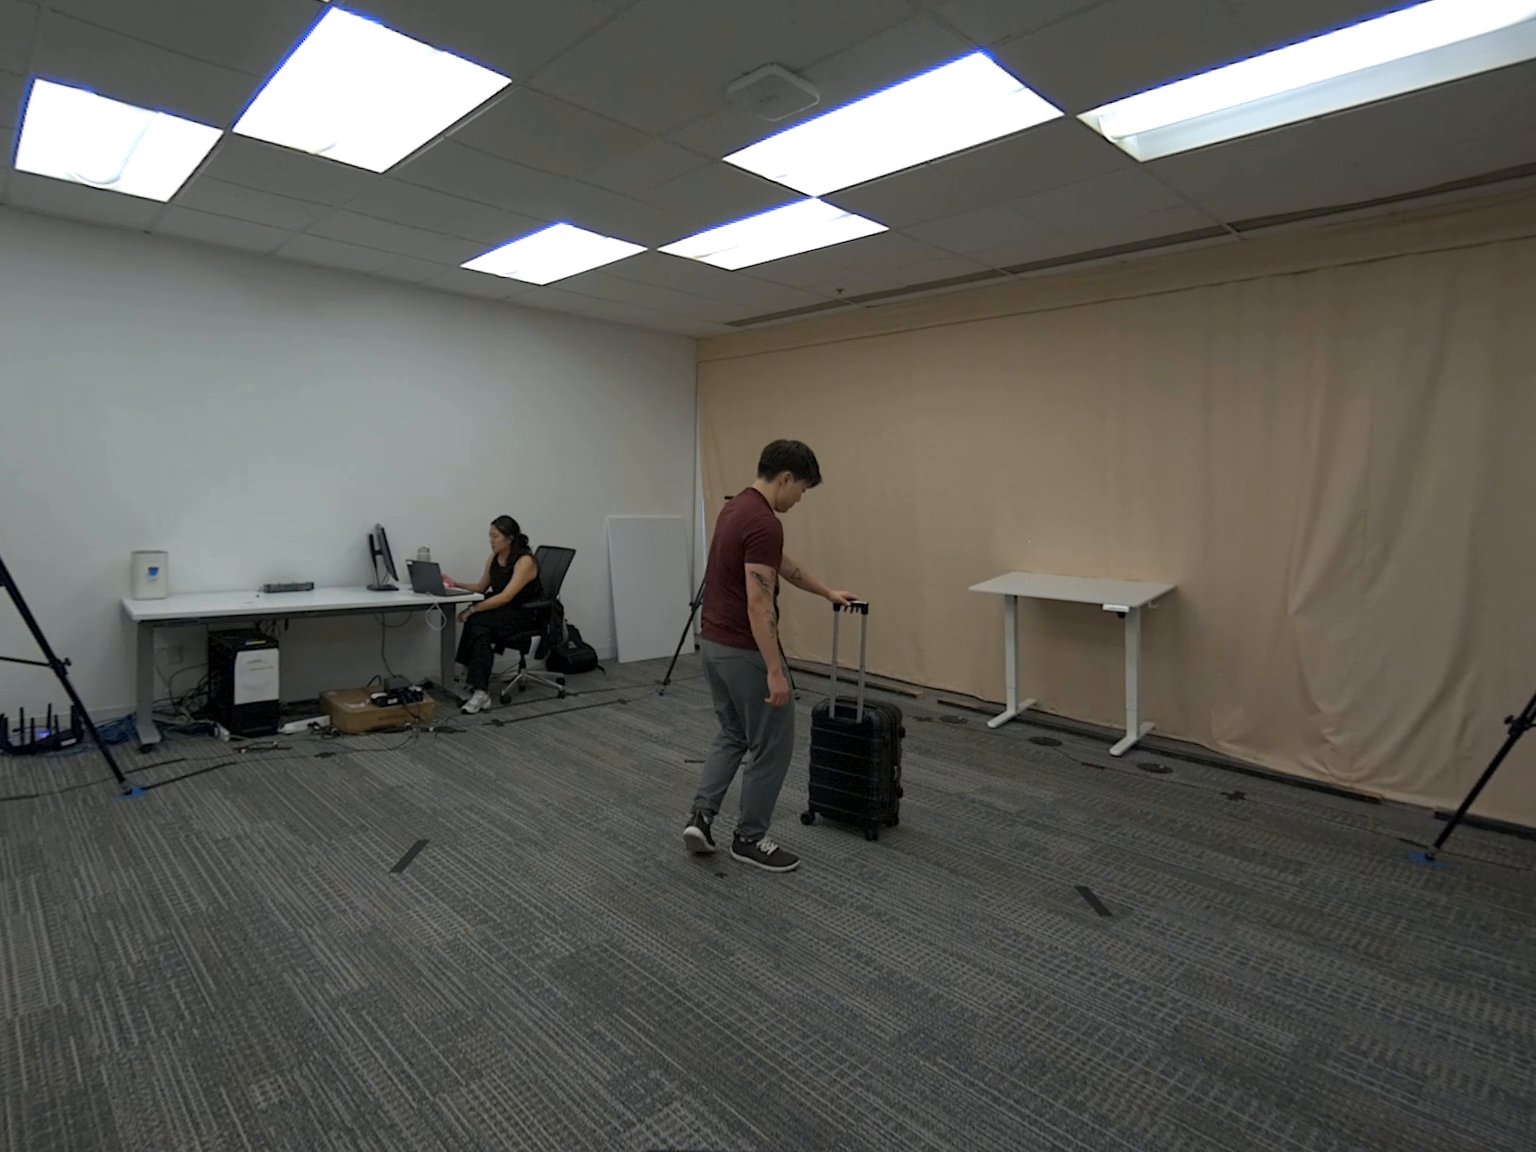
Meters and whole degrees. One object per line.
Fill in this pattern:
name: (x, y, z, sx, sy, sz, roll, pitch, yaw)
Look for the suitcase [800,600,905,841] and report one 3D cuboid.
suitcase: (0.373, 0.594, 3.598, 0.393, 0.976, 0.251, 5, 4, 33)
